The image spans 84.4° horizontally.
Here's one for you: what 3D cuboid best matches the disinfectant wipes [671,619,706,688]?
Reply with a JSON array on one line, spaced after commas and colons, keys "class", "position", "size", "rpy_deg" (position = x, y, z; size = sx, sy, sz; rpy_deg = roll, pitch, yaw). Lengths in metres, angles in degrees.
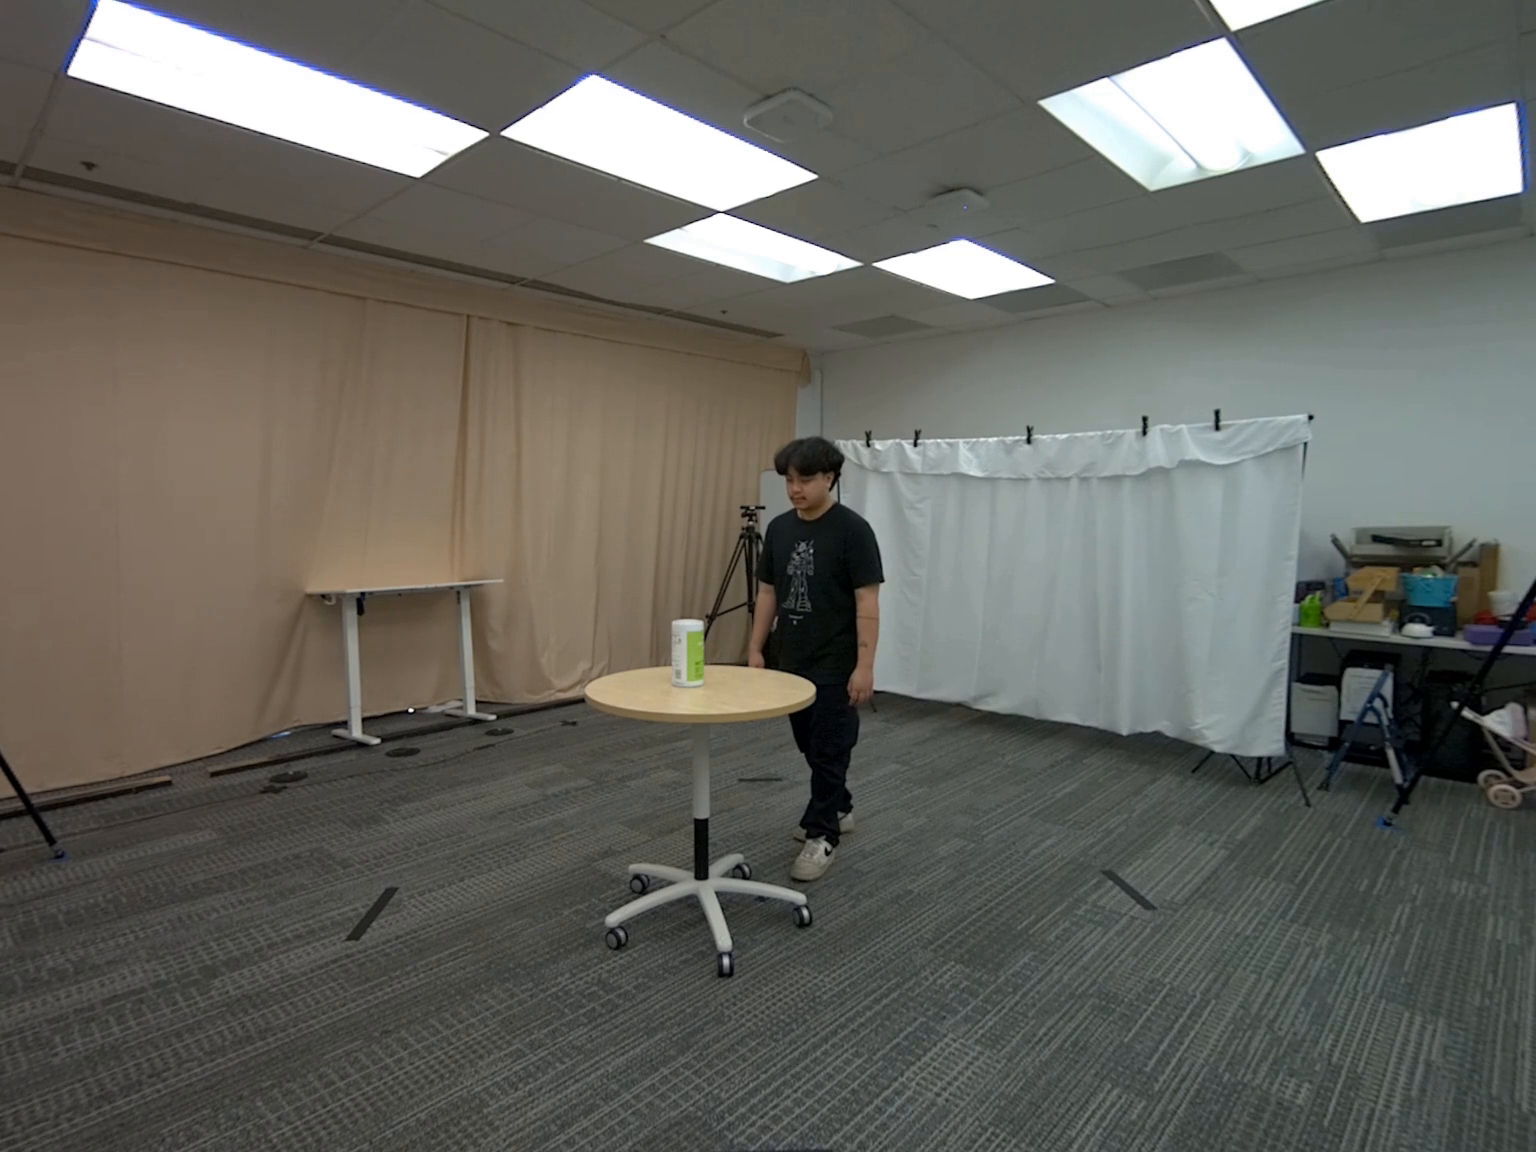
[{"class": "disinfectant wipes", "position": [-0.267, 0.258, 2.832], "size": [0.118, 0.217, 0.118], "rpy_deg": [1, 3, -2]}]
